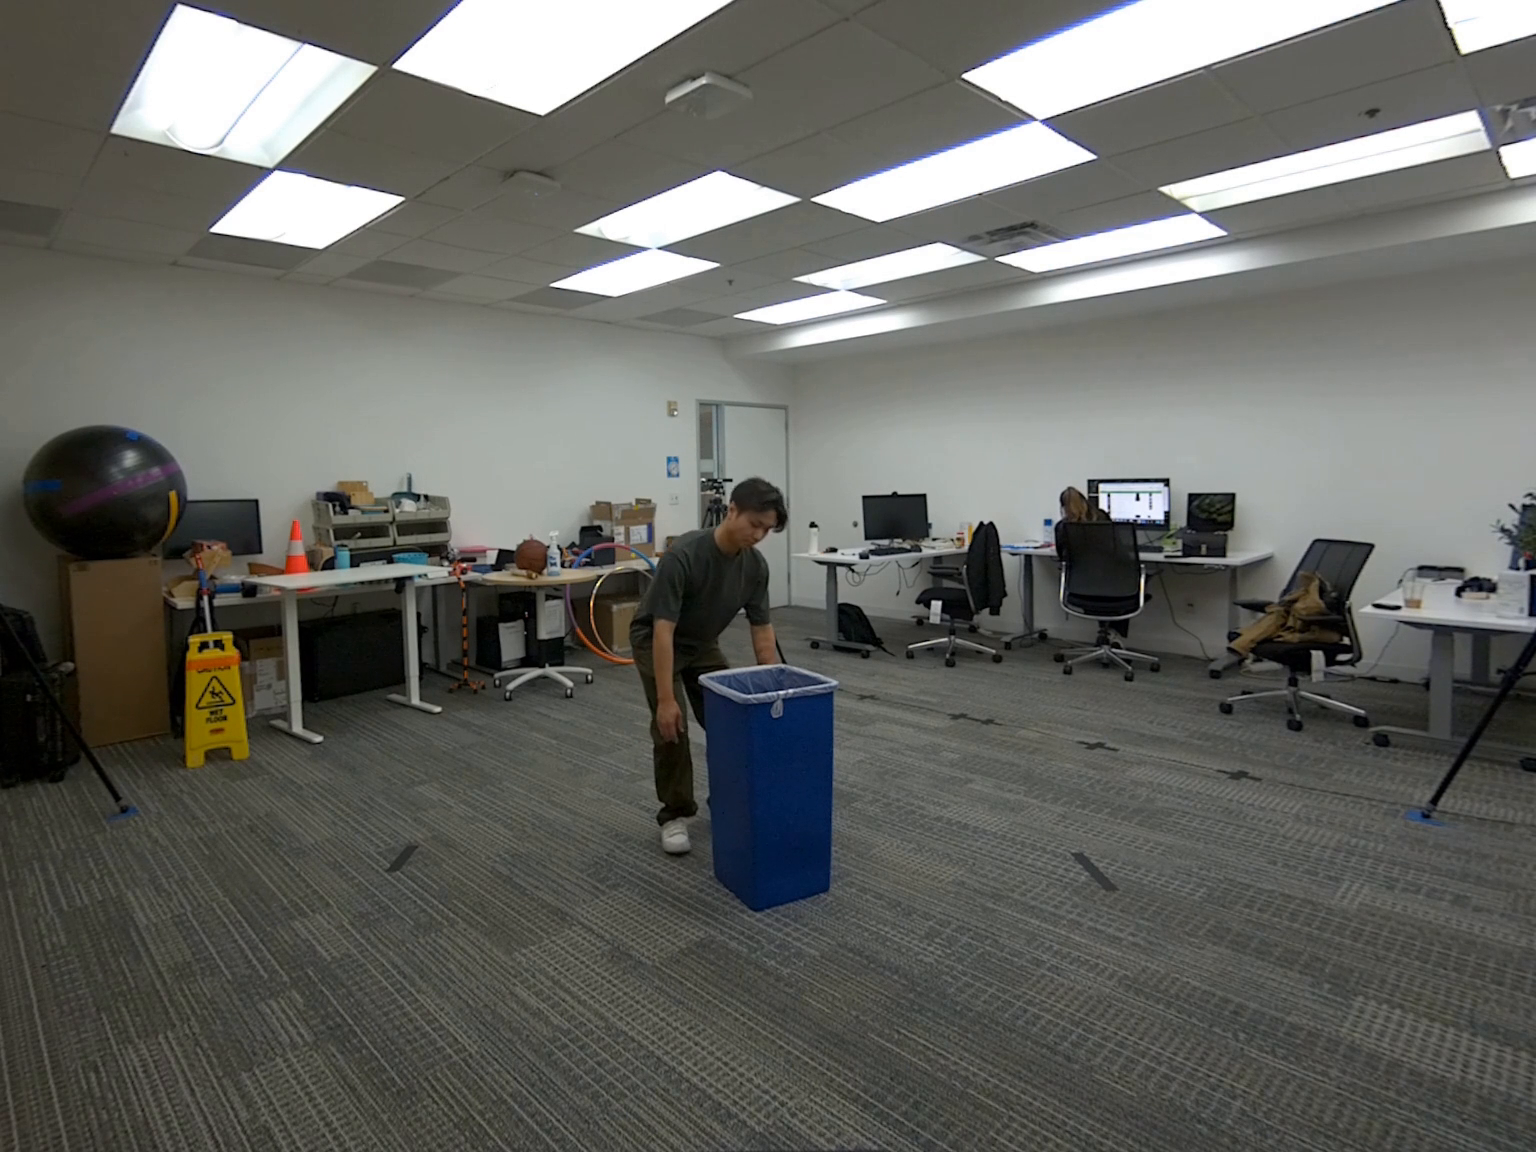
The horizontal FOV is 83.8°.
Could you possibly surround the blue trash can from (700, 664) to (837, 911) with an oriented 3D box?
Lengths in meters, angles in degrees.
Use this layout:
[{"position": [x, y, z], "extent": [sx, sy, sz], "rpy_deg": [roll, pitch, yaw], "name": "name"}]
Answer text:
[{"position": [0.009, 0.702, 2.942], "extent": [0.365, 0.711, 0.388], "rpy_deg": [-3, 4, -29], "name": "blue trash can"}]
